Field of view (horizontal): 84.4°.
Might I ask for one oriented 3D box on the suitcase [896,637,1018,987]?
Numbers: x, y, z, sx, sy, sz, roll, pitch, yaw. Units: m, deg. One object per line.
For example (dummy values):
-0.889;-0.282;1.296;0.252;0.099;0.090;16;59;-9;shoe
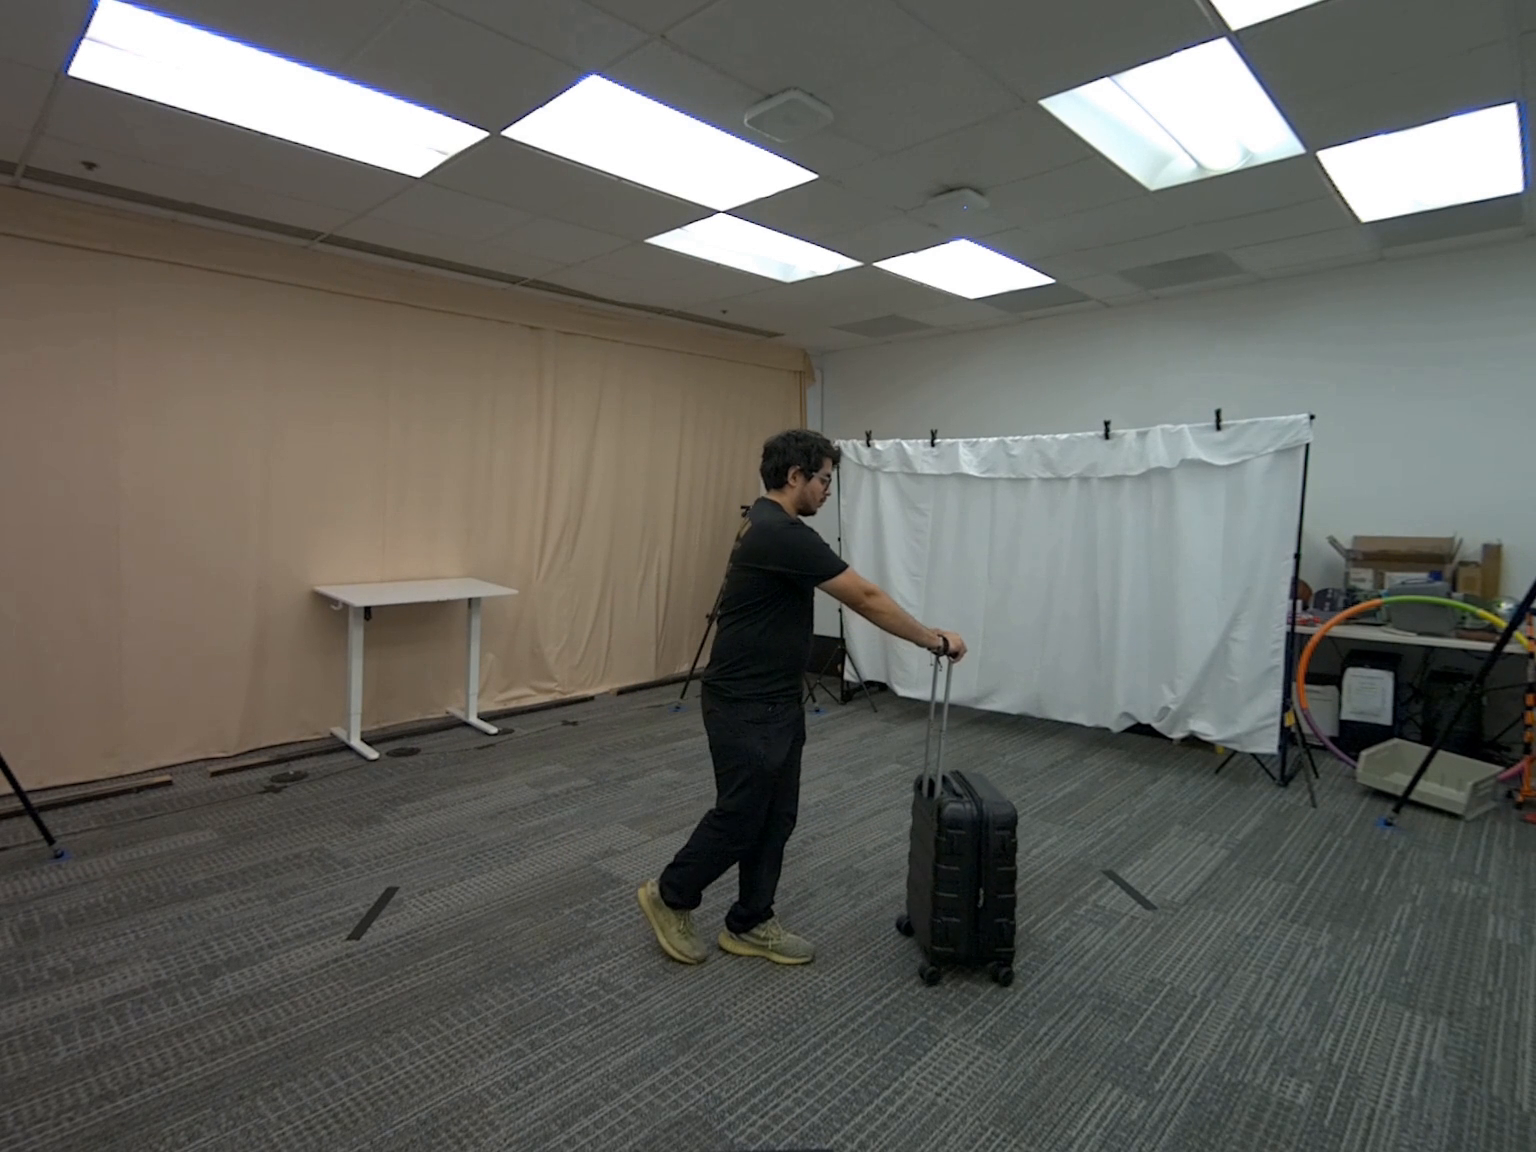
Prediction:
0.620;0.705;2.581;0.257;0.977;0.385;6;3;-2;suitcase
